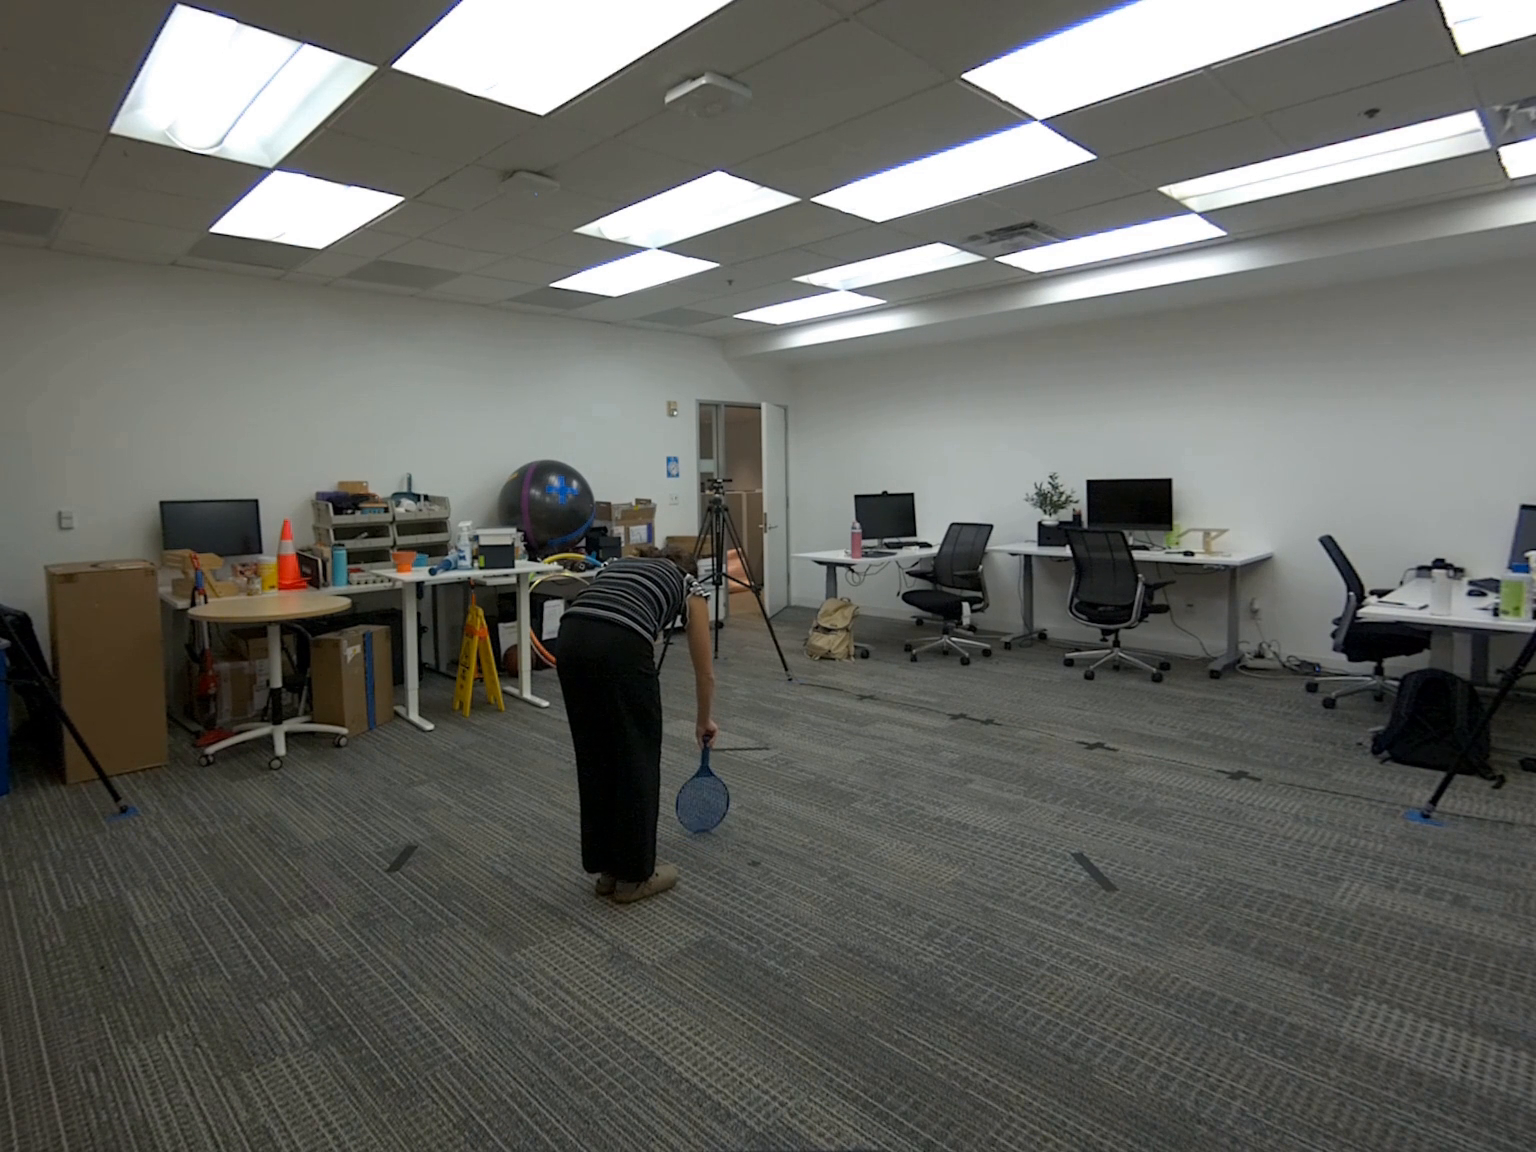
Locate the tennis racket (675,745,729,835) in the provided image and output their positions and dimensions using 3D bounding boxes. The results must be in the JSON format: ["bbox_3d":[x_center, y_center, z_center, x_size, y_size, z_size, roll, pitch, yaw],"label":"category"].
[{"bbox_3d":[-0.256,0.810,3.324,0.211,0.427,0.032,-2,17,-11],"label":"tennis racket"}]
